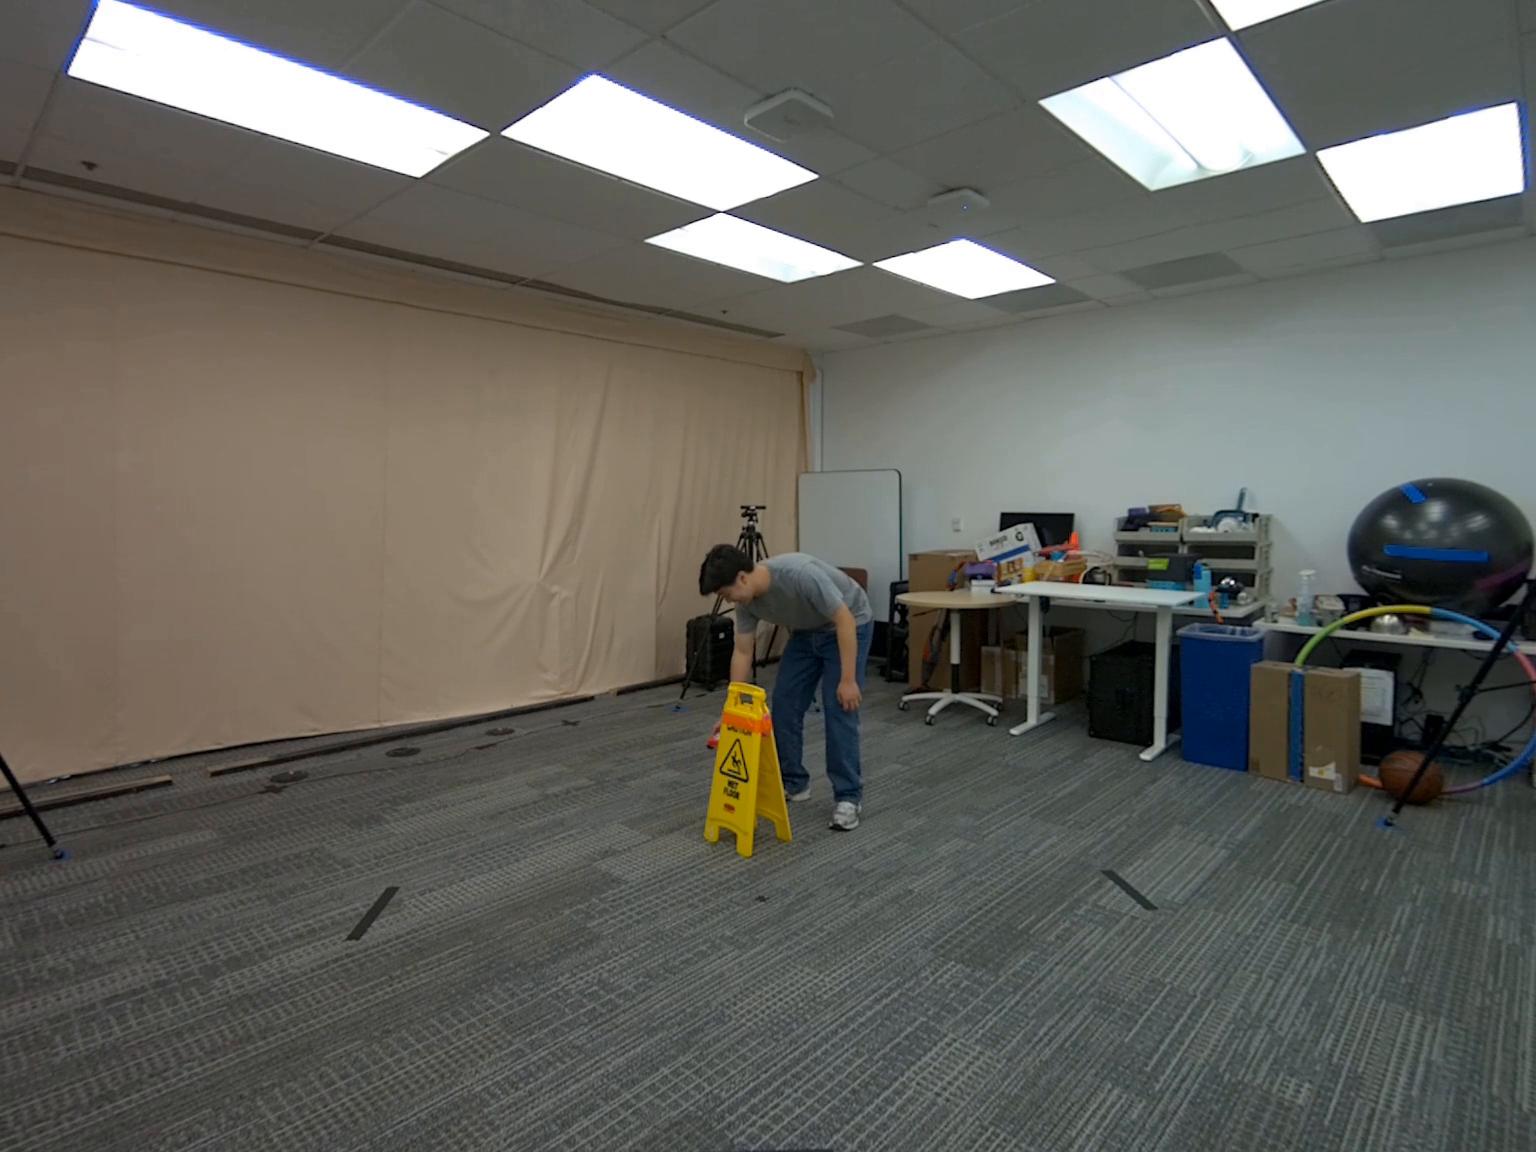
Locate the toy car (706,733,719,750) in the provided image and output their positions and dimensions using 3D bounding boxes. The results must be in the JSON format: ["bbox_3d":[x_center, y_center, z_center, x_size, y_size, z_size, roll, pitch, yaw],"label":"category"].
[{"bbox_3d":[-0.177,0.751,3.835,0.133,0.083,0.251,0,10,19],"label":"toy car"}]
